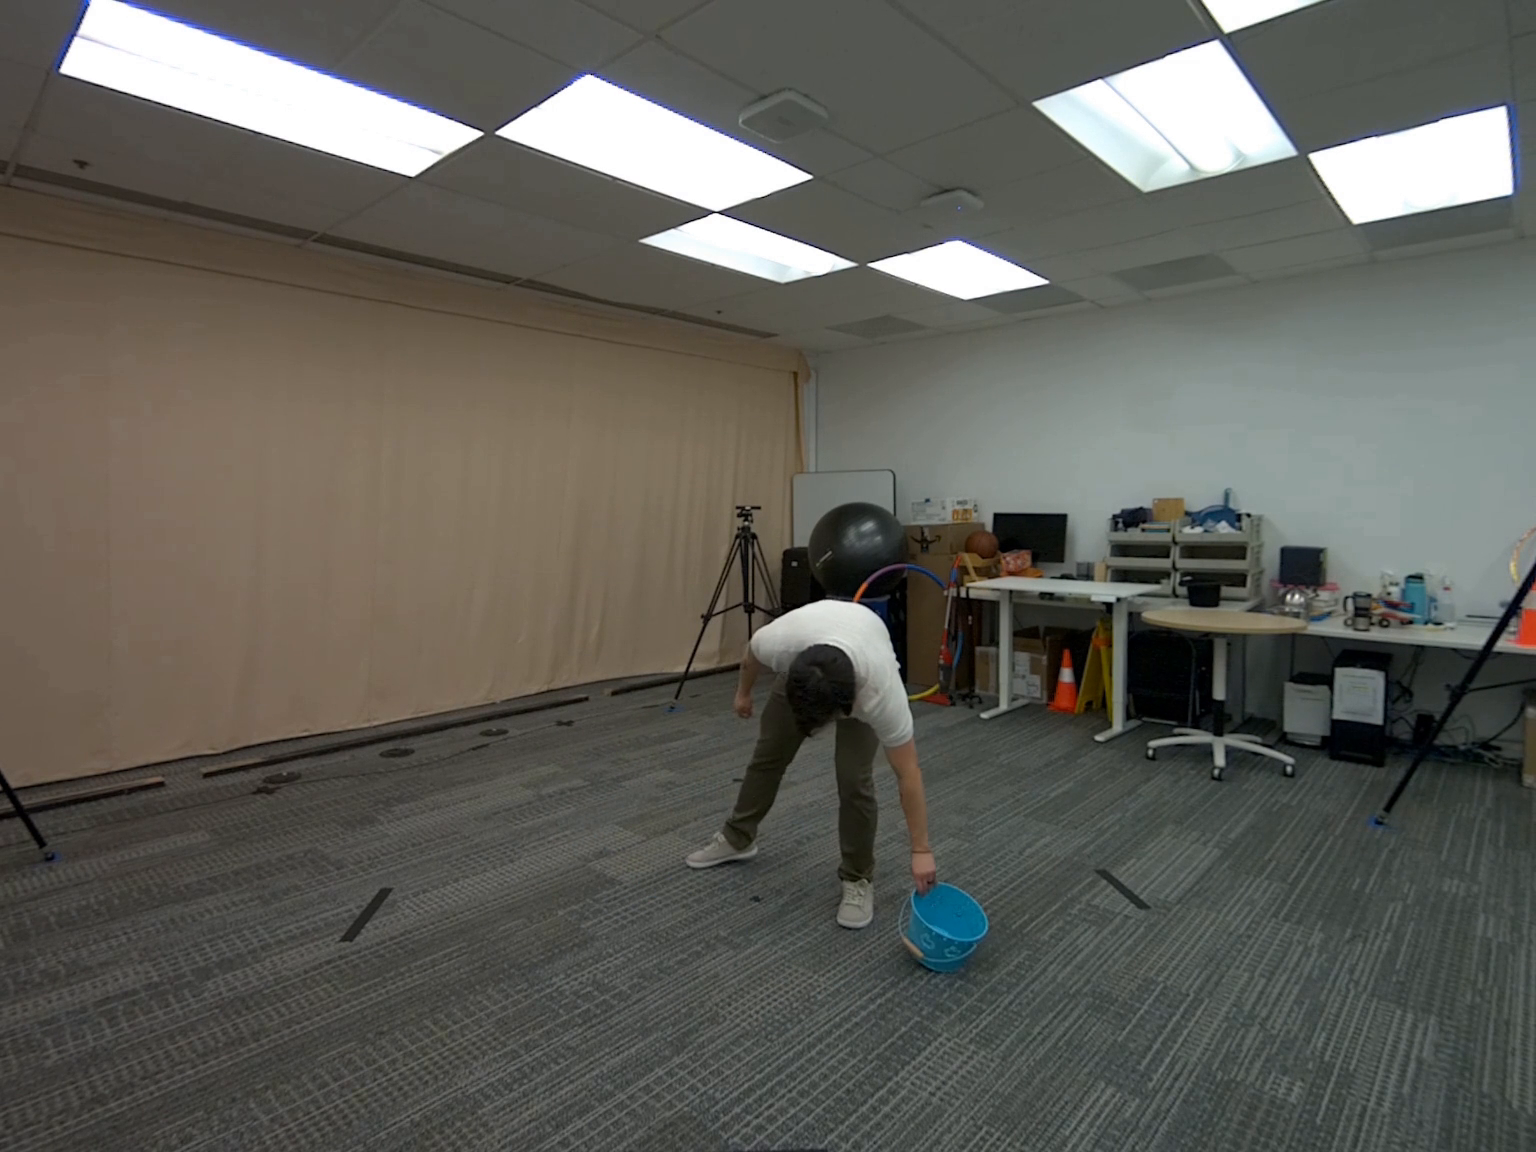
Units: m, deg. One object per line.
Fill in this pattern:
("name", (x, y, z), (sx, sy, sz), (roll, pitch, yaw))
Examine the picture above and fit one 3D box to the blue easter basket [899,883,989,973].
("blue easter basket", (0.530, 1.079, 2.560), (0.242, 0.154, 0.247), (9, 22, -6))
